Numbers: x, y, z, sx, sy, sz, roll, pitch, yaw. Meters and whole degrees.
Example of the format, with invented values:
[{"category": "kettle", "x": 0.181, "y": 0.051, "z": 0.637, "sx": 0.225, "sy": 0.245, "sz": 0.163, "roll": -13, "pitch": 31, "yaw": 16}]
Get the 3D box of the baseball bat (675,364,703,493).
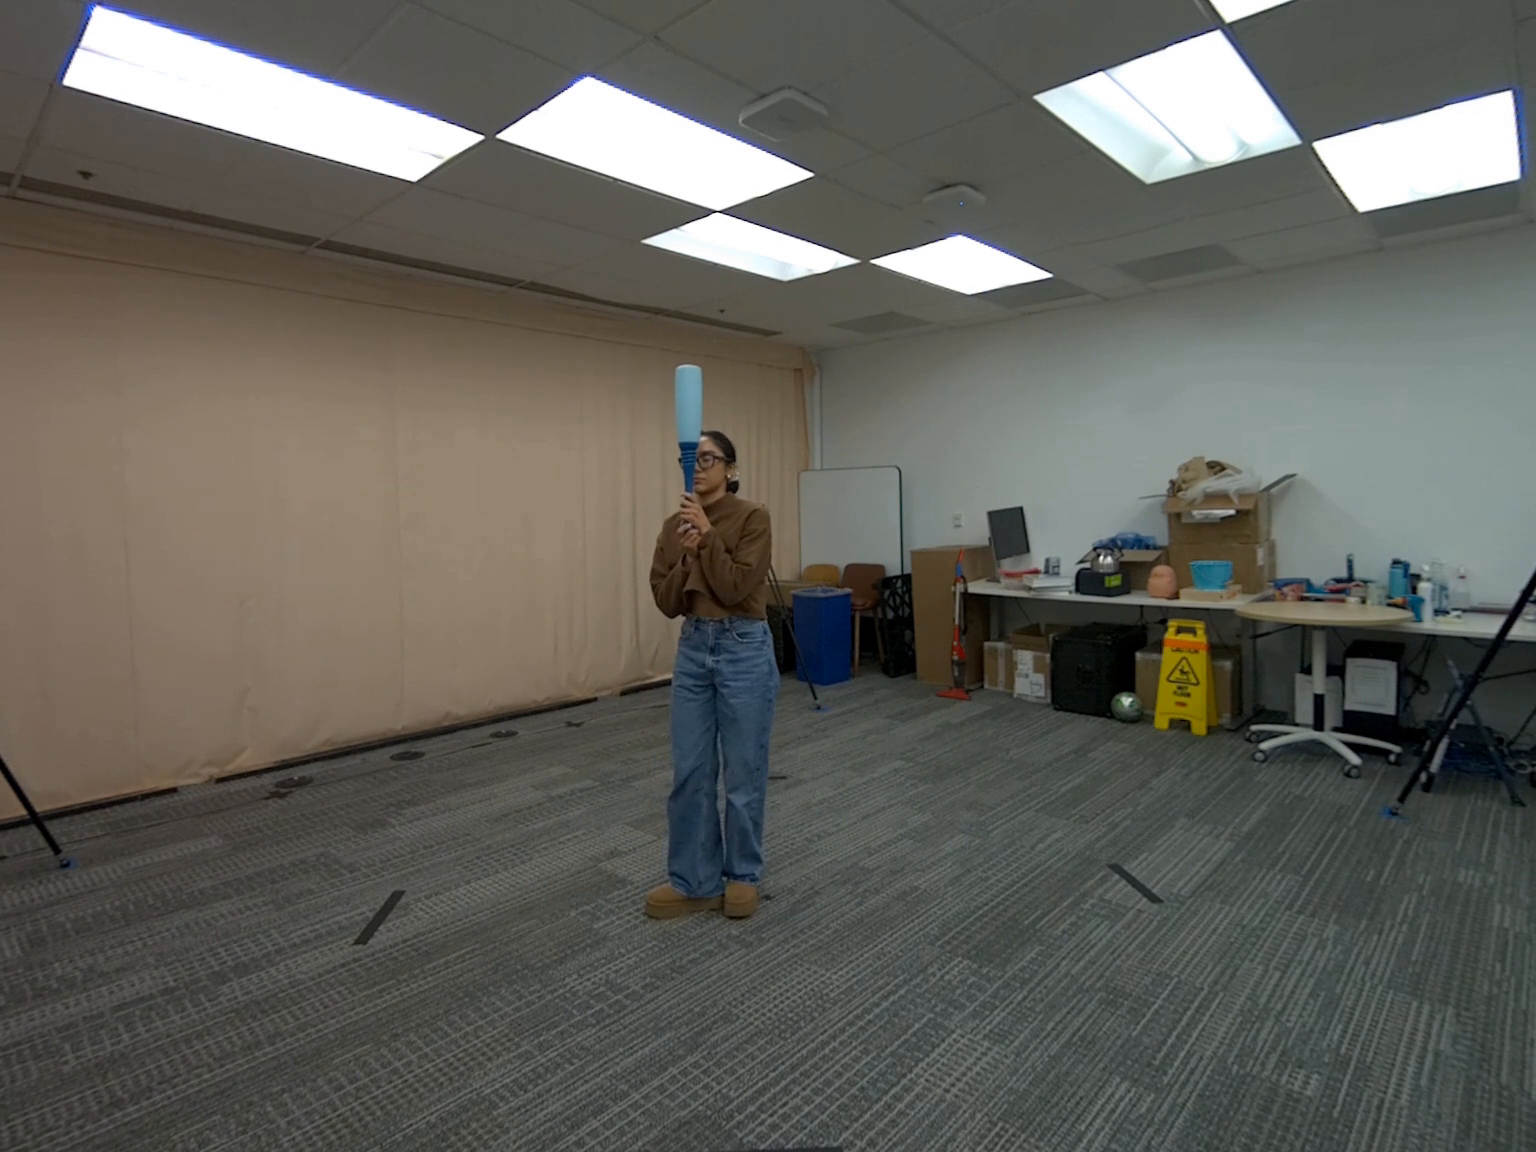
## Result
[{"category": "baseball bat", "x": -0.265, "y": -0.415, "z": 2.746, "sx": 0.089, "sy": 0.543, "sz": 0.089, "roll": 1, "pitch": 1, "yaw": -2}]
